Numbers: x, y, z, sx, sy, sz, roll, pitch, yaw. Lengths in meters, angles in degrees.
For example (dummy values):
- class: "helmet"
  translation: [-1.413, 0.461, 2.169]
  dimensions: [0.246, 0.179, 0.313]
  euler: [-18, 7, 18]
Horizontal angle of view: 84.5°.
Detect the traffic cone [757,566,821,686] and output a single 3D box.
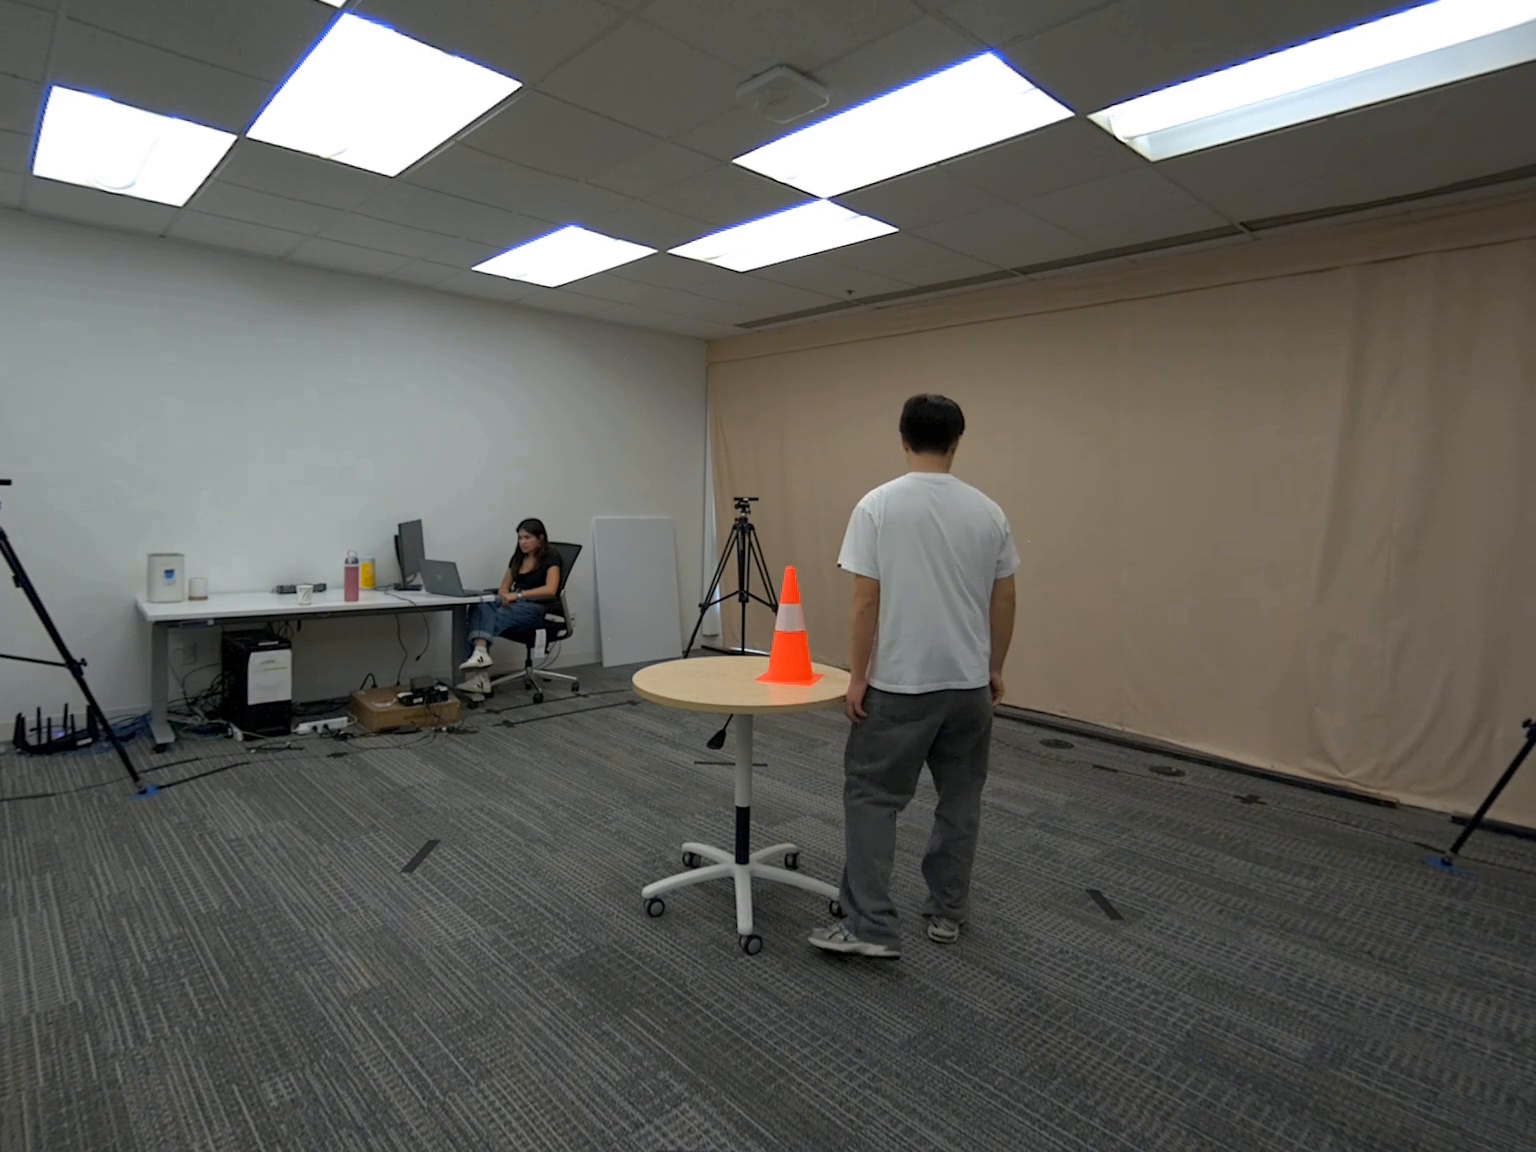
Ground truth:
- class: "traffic cone"
  translation: [0.073, 0.164, 2.868]
  dimensions: [0.207, 0.383, 0.201]
  euler: [3, 1, 22]
